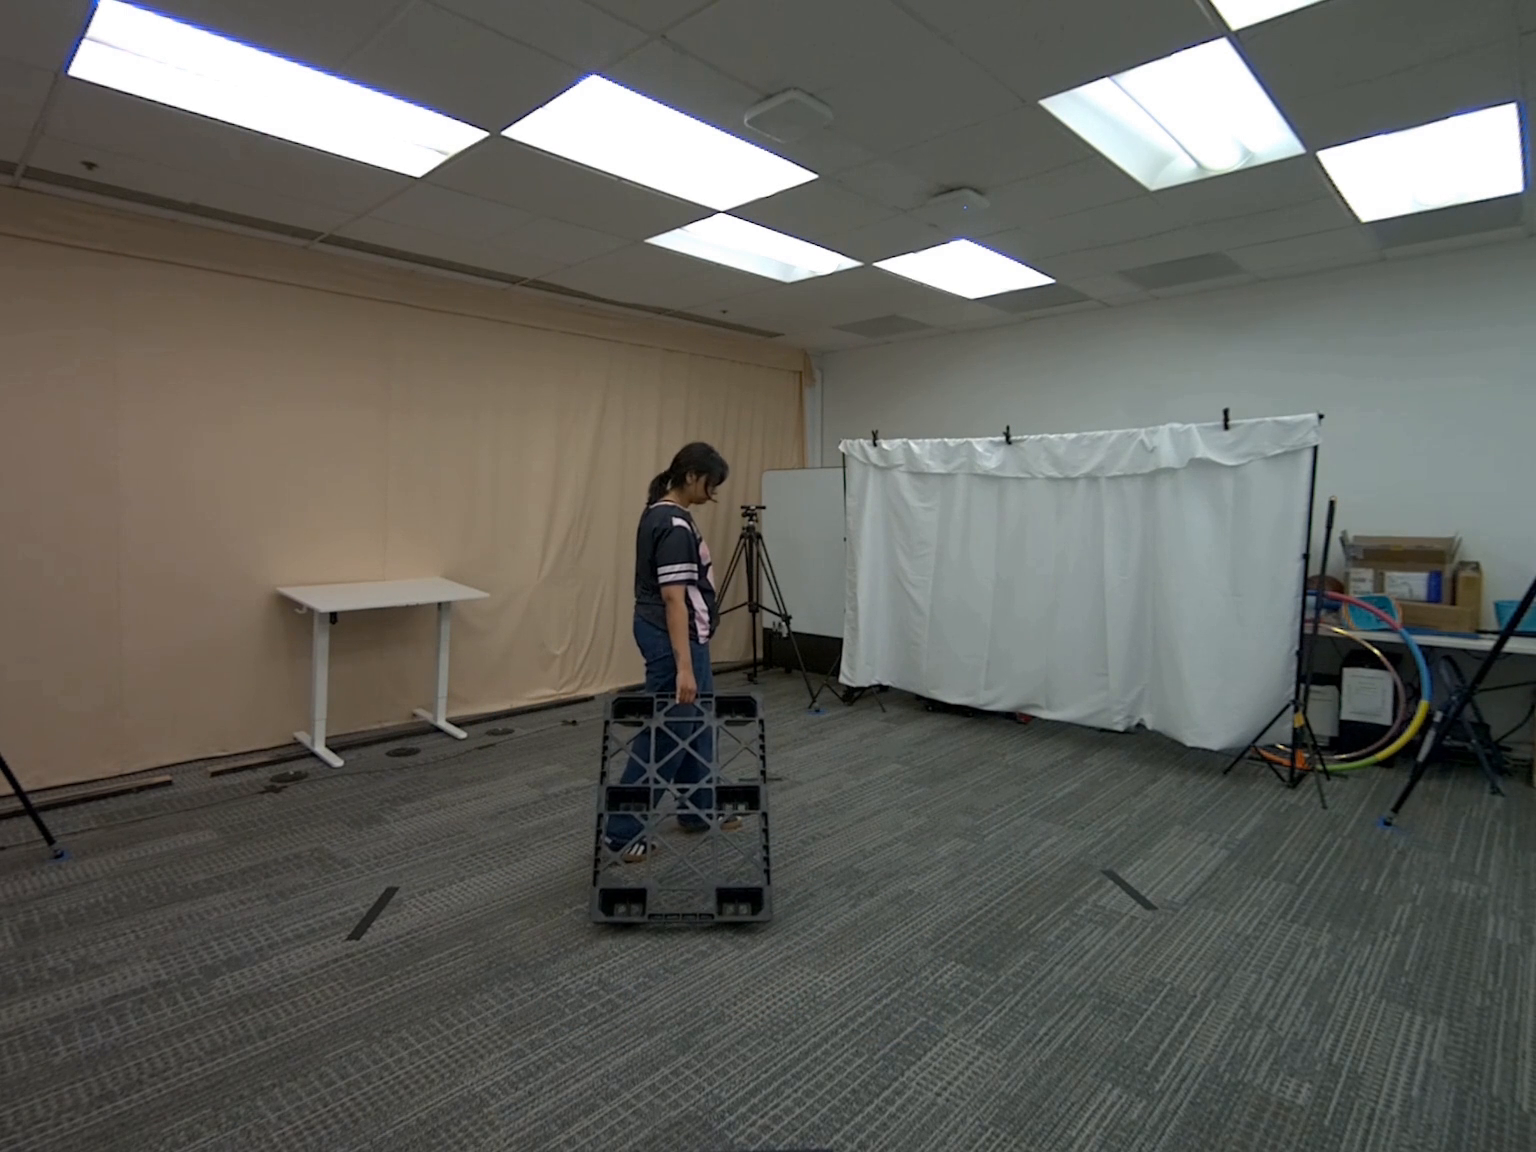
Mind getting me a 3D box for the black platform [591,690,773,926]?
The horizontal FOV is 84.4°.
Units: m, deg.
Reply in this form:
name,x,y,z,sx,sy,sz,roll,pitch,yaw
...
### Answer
name,x,y,z,sx,sy,sz,roll,pitch,yaw
black platform,-0.299,0.813,2.993,0.605,0.819,0.141,-1,-32,0
